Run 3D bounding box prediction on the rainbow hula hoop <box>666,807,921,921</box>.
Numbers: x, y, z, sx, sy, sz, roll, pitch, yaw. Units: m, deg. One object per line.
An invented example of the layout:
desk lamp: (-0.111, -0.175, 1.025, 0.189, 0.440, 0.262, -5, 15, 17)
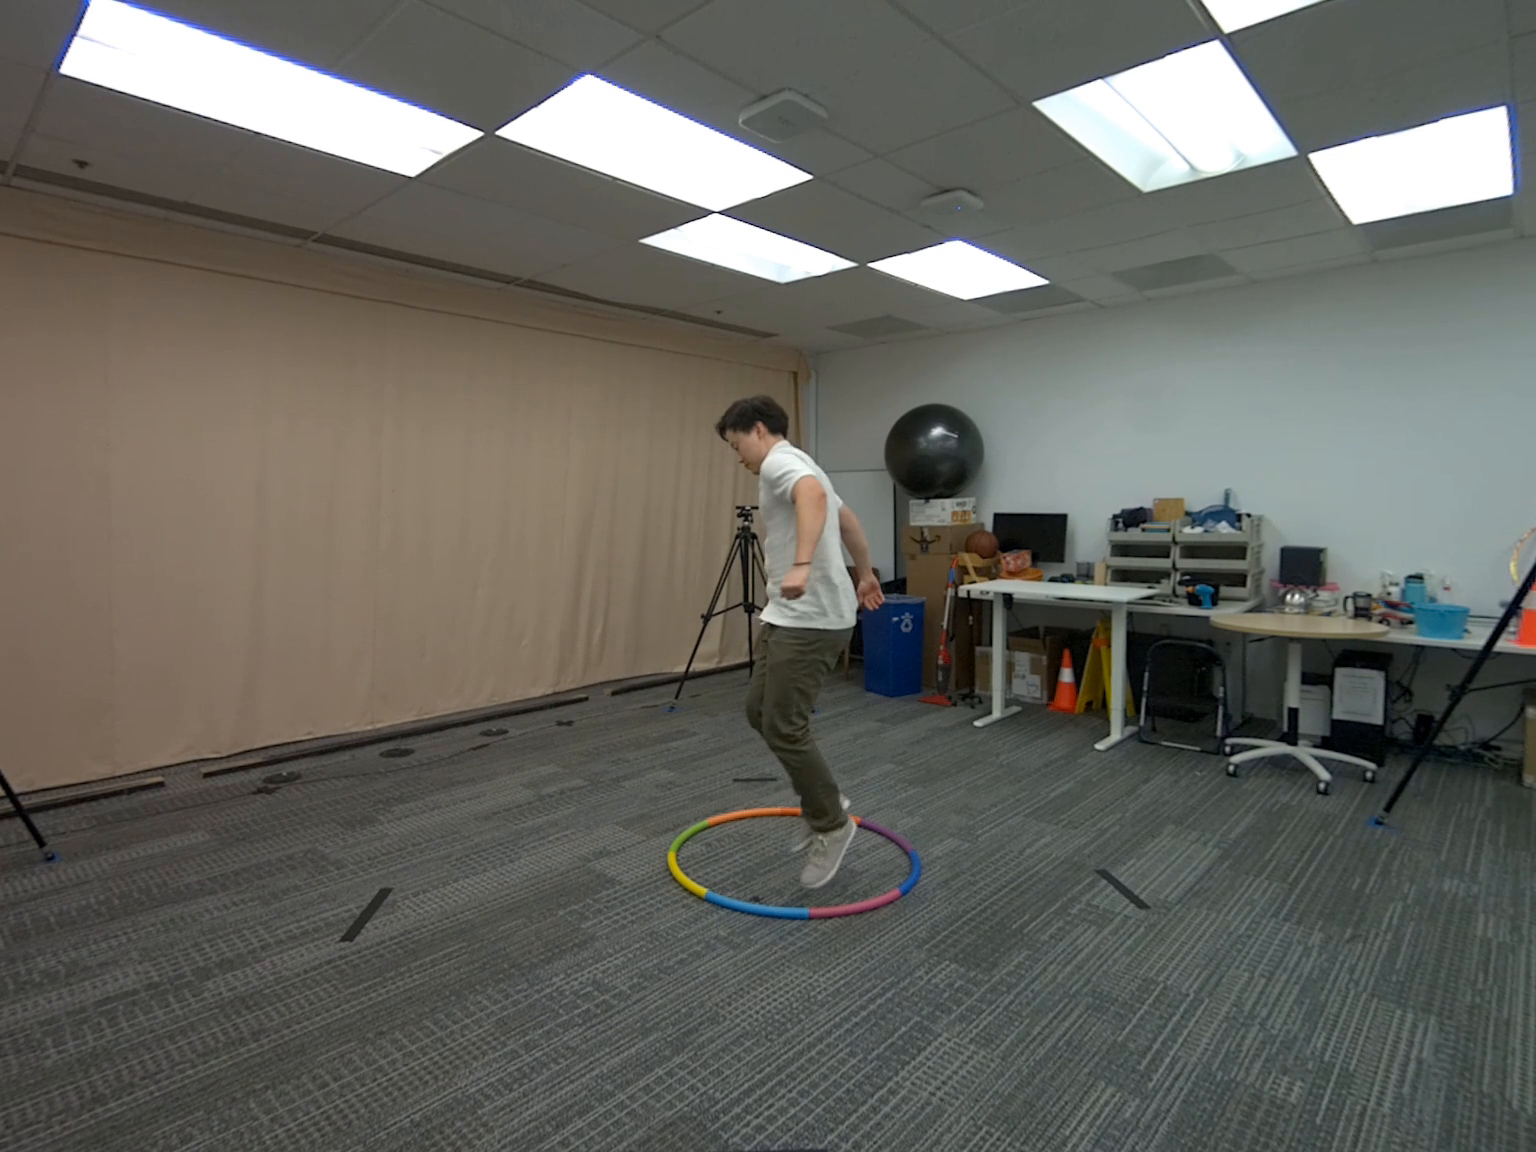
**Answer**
rainbow hula hoop: (0.099, 1.087, 3.313, 0.978, 0.035, 0.982, 0, 5, -2)
